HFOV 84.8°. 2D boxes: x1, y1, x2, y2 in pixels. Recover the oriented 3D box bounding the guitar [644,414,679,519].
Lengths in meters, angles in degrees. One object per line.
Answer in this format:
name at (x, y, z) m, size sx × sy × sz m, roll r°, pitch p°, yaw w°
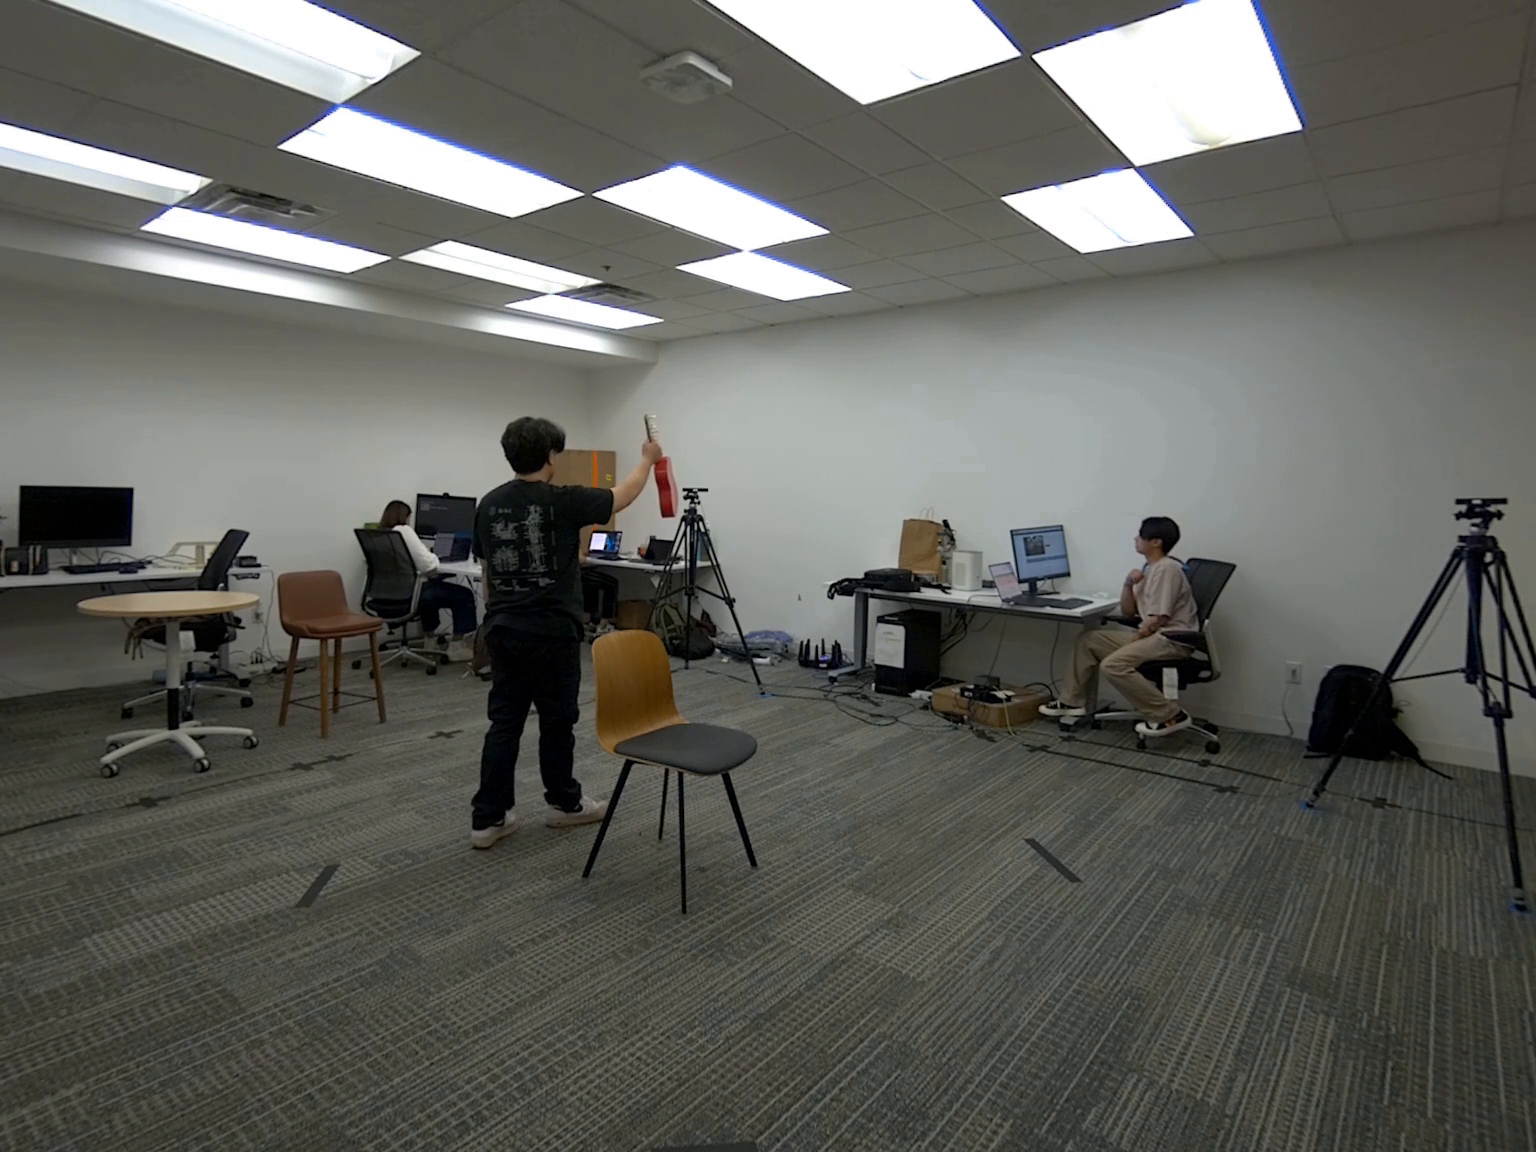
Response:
guitar at (-0.487, -0.475, 3.729) m, size 0.071 × 0.481 × 0.198 m, roll -5°, pitch 43°, yaw 4°
